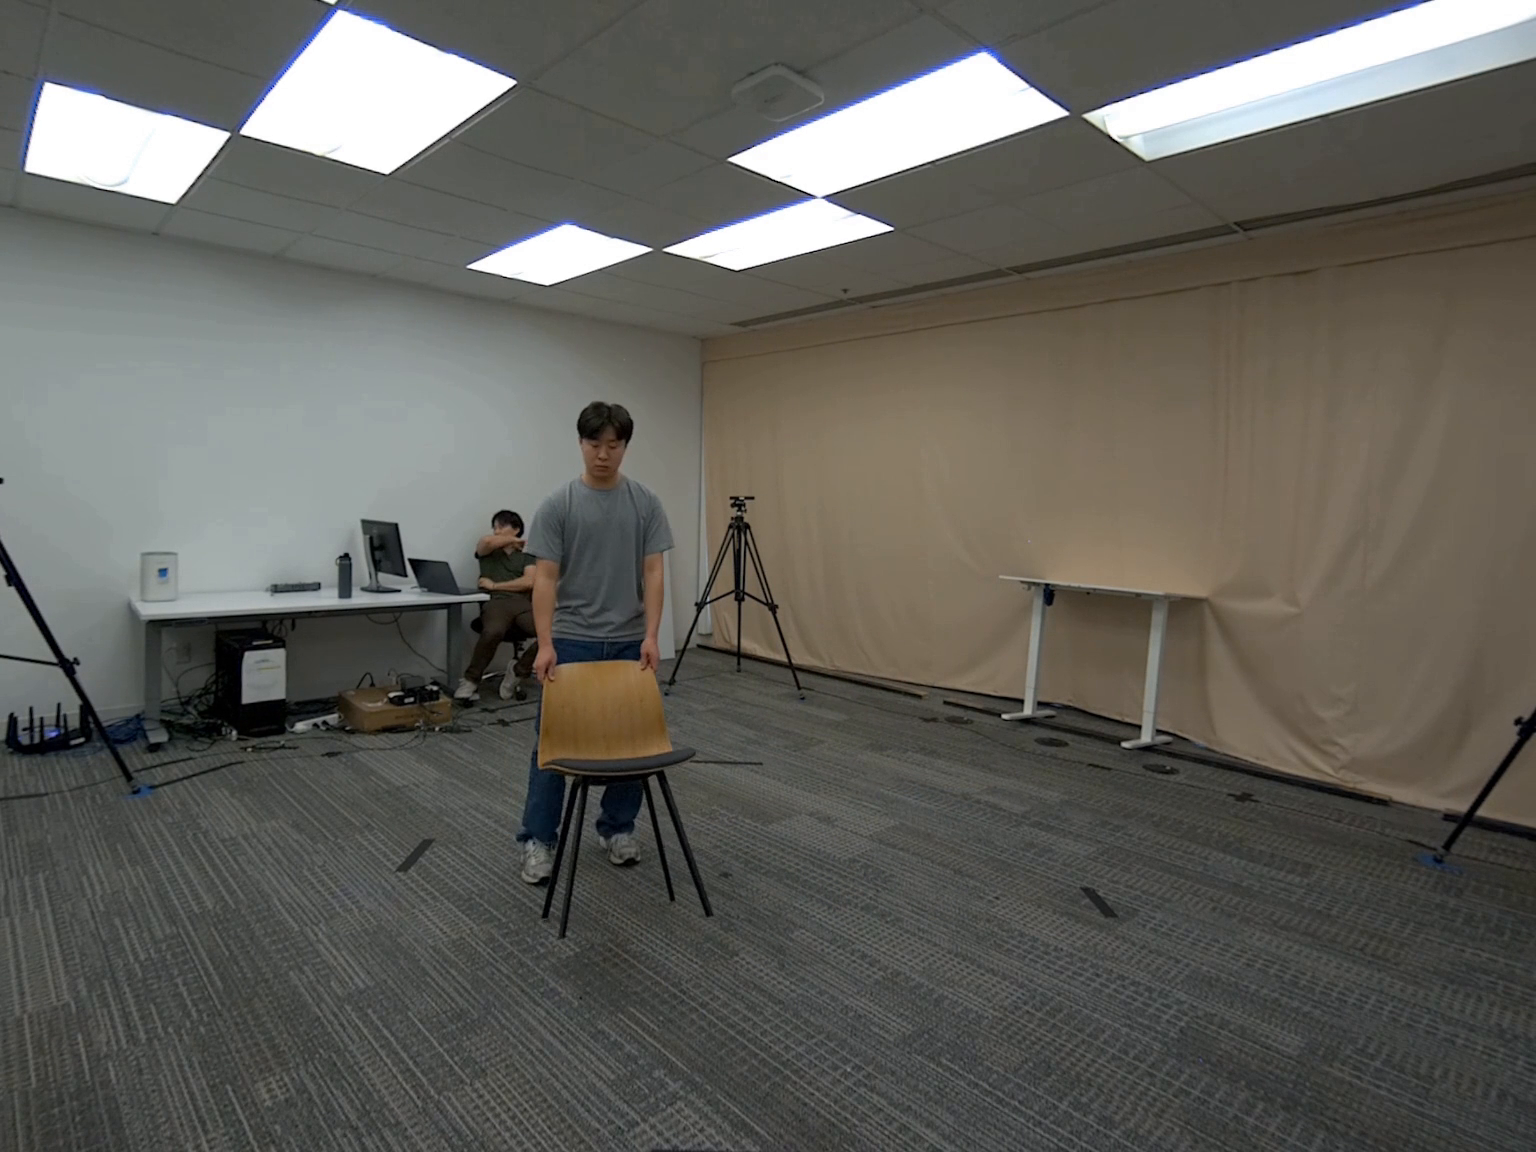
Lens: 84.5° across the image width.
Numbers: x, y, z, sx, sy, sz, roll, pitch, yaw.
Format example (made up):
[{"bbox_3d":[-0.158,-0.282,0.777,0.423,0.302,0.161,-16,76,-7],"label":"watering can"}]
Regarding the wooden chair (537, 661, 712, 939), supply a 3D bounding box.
[{"bbox_3d":[-0.492,0.655,2.717,0.471,0.891,0.523,0,-20,-20],"label":"wooden chair"}]
